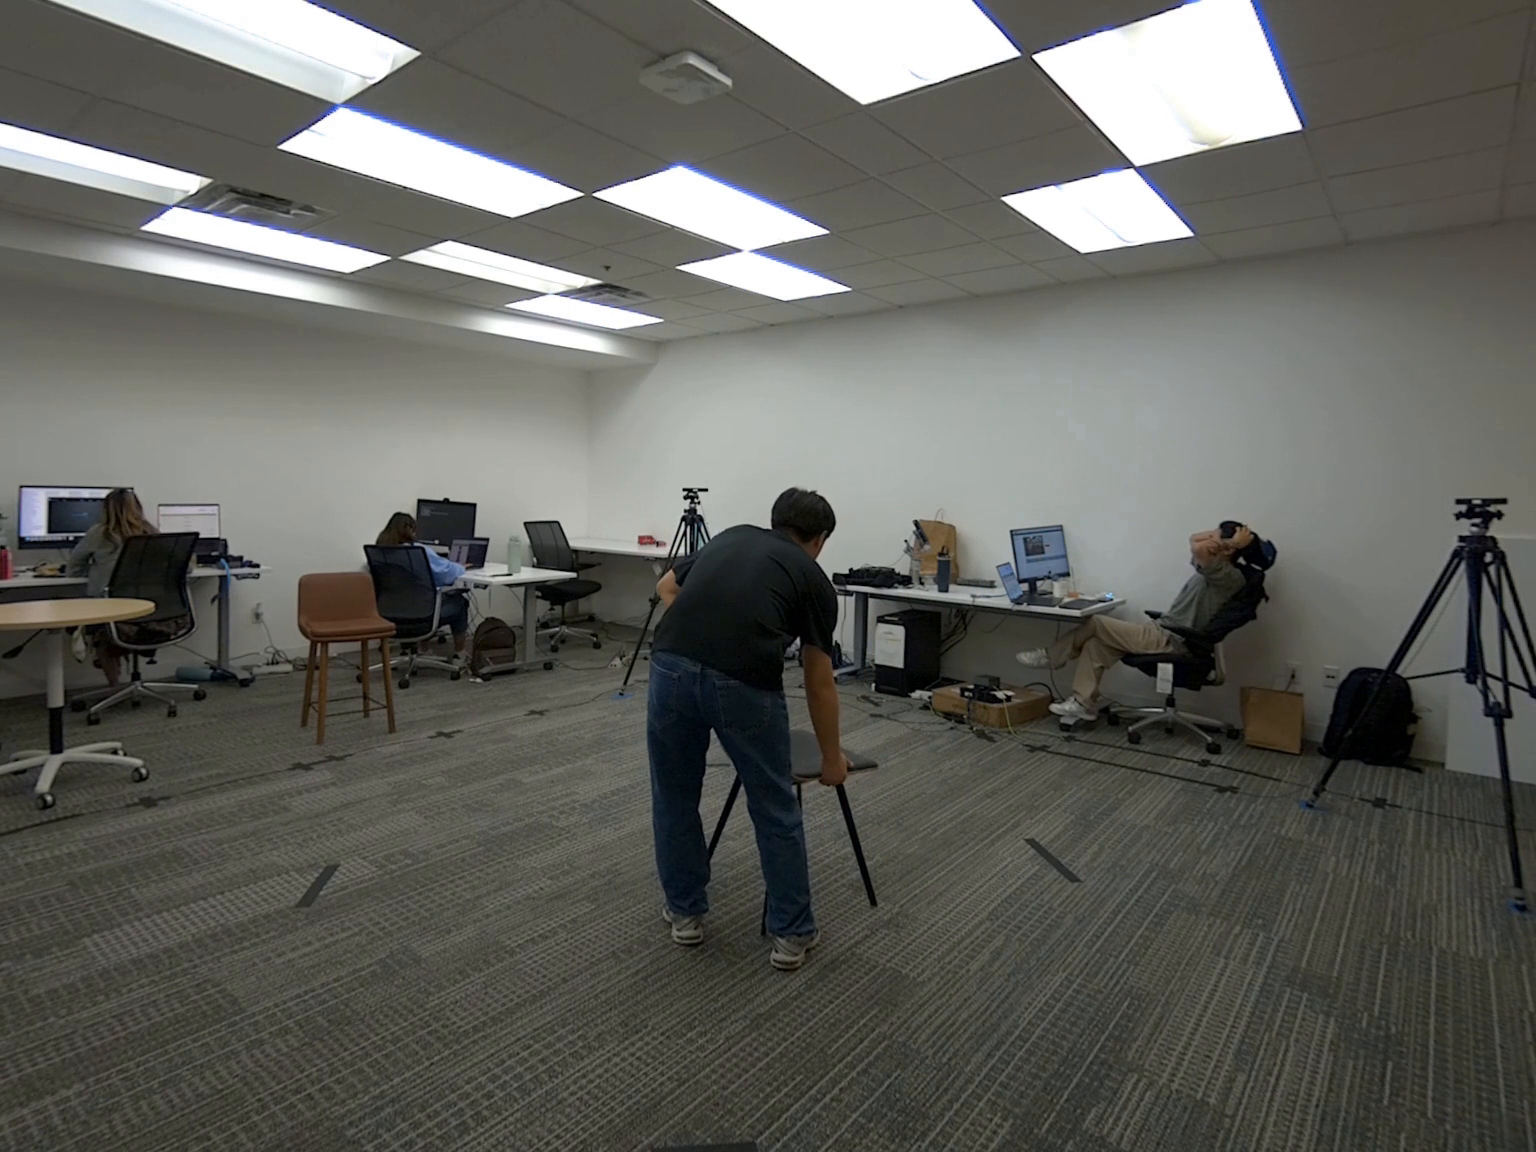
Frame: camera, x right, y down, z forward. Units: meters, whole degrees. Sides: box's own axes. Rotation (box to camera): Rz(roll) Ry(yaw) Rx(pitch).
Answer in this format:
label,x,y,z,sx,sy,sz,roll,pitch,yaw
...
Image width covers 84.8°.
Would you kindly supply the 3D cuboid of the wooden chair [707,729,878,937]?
label,x,y,z,sx,sy,sz,roll,pitch,yaw
wooden chair,0.065,0.665,2.932,0.510,0.873,0.493,-5,5,-31
